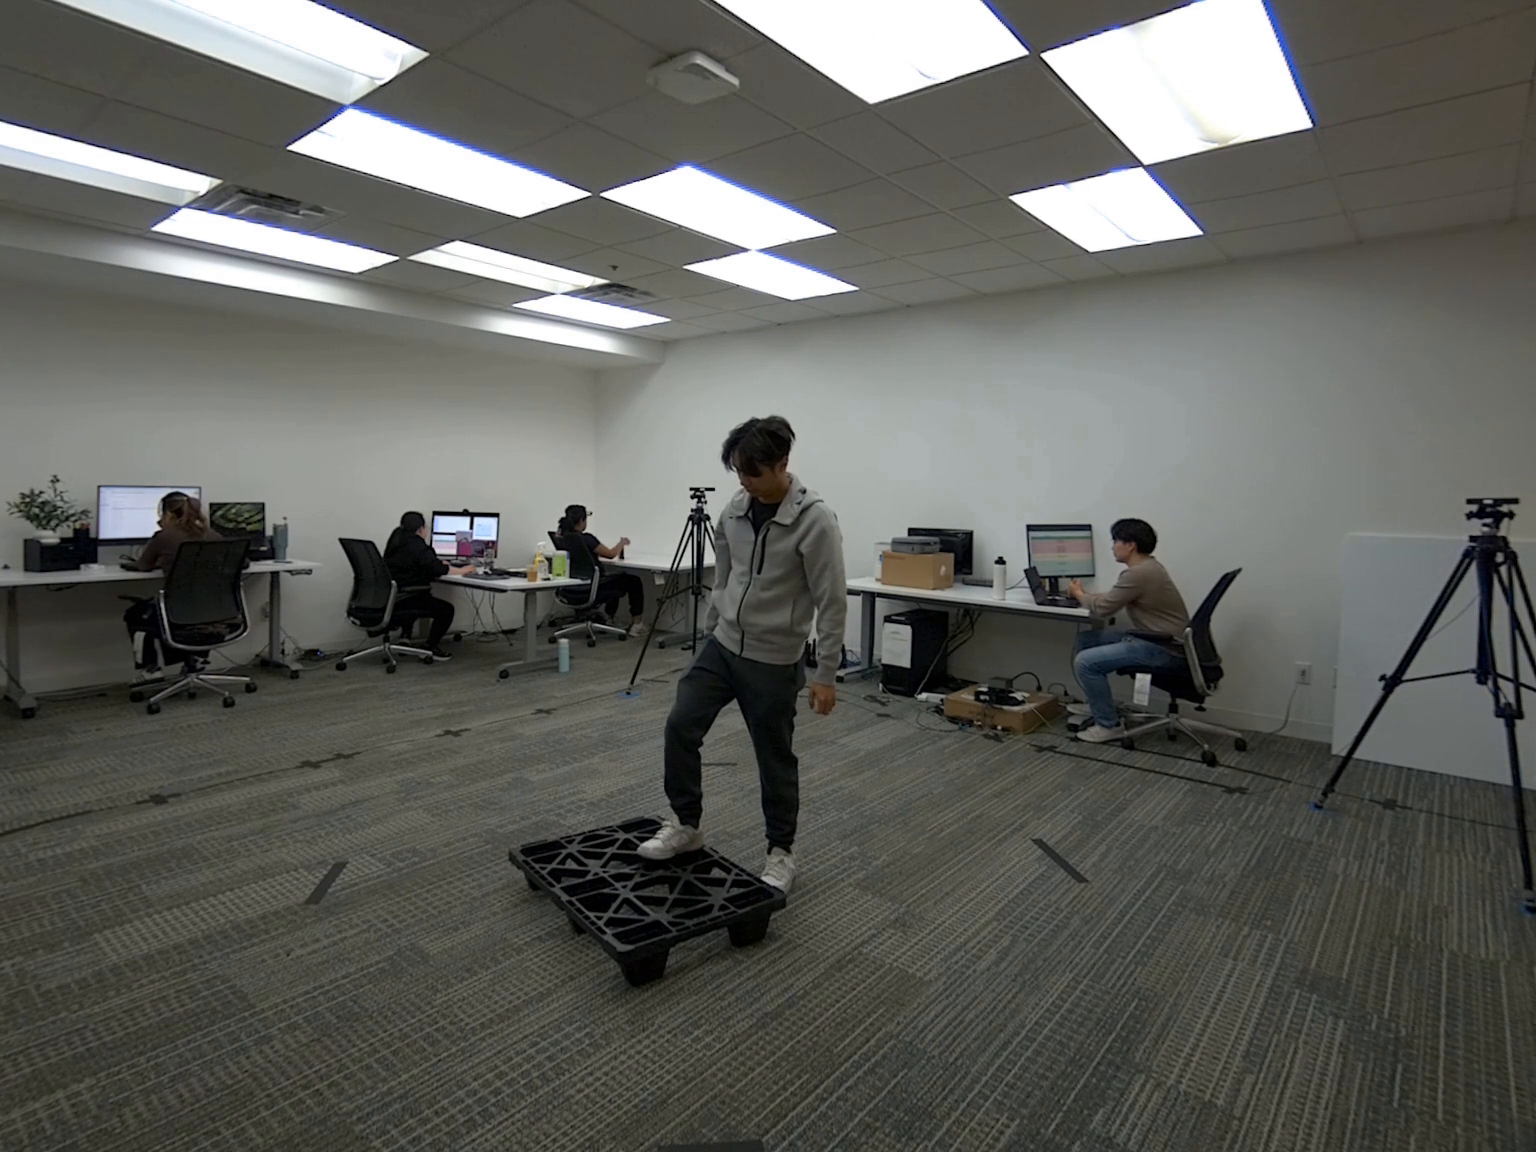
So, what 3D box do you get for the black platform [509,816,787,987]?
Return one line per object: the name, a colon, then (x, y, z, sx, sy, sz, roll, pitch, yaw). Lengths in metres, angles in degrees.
black platform: (-0.427, 1.028, 2.790, 0.587, 0.143, 0.833, -2, 6, -37)
